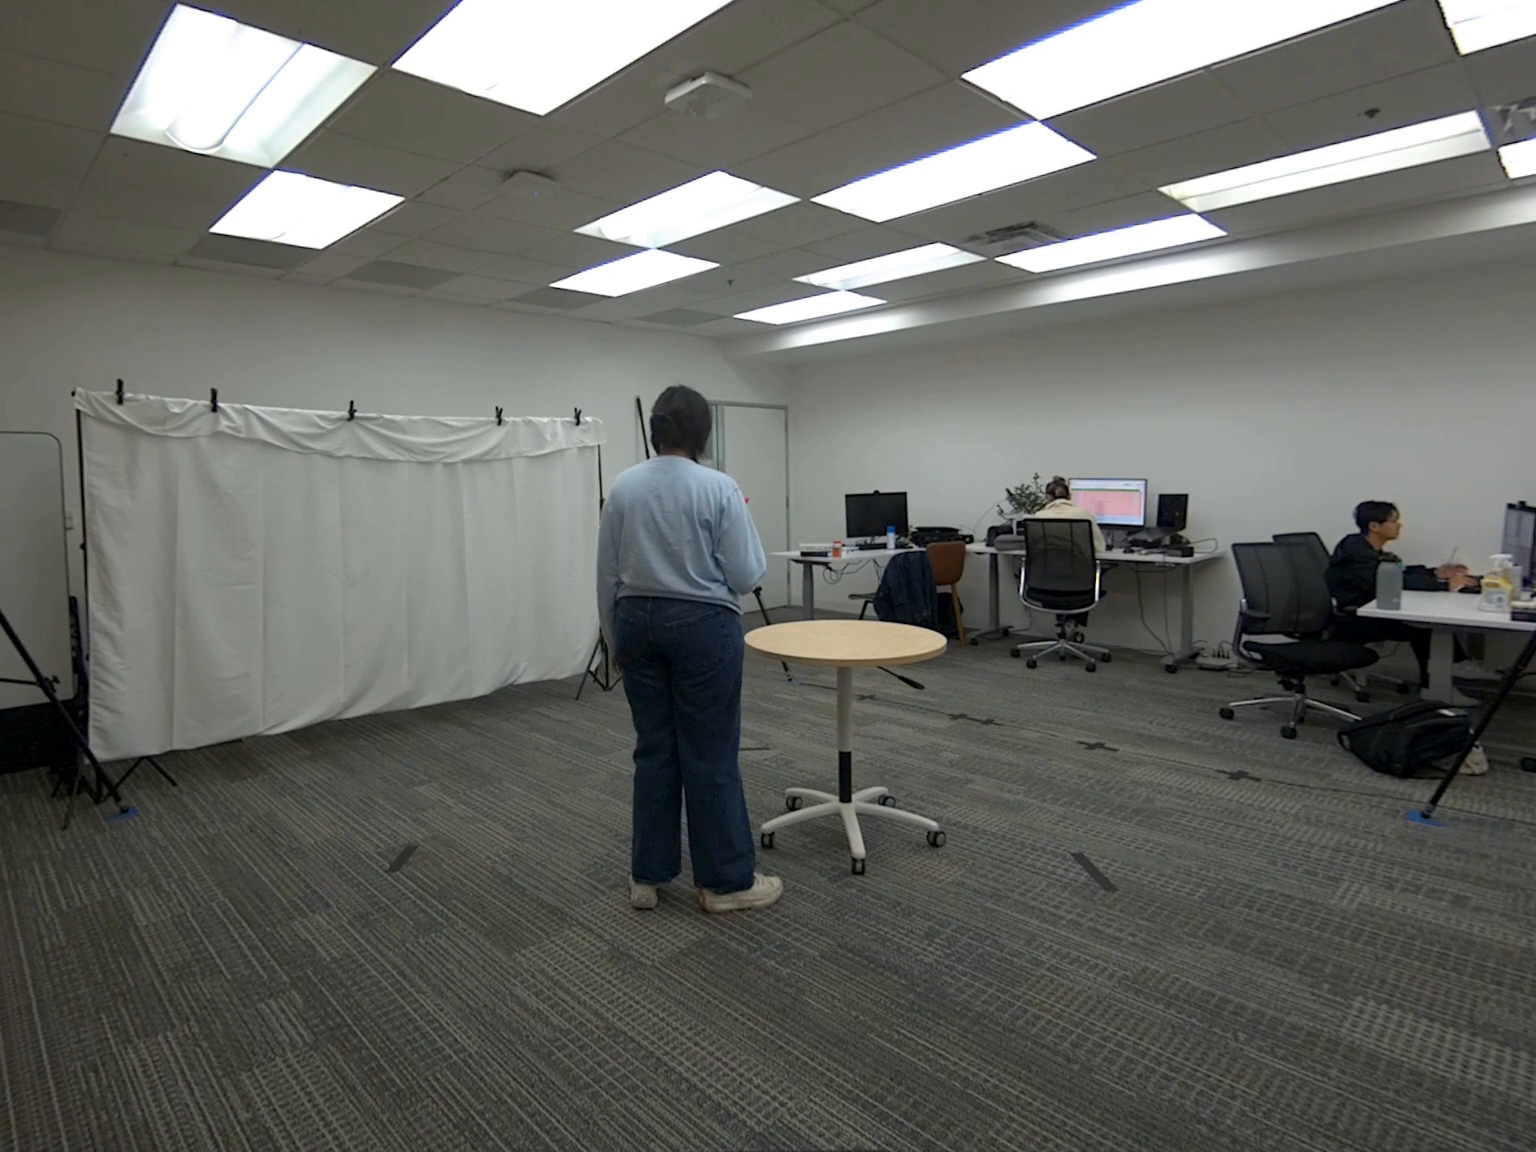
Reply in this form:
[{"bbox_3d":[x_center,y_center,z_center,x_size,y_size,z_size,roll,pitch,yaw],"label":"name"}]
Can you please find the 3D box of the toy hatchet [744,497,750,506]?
[{"bbox_3d":[-0.125,-0.159,3.051,0.029,0.275,0.131,29,-41,-17],"label":"toy hatchet"}]
